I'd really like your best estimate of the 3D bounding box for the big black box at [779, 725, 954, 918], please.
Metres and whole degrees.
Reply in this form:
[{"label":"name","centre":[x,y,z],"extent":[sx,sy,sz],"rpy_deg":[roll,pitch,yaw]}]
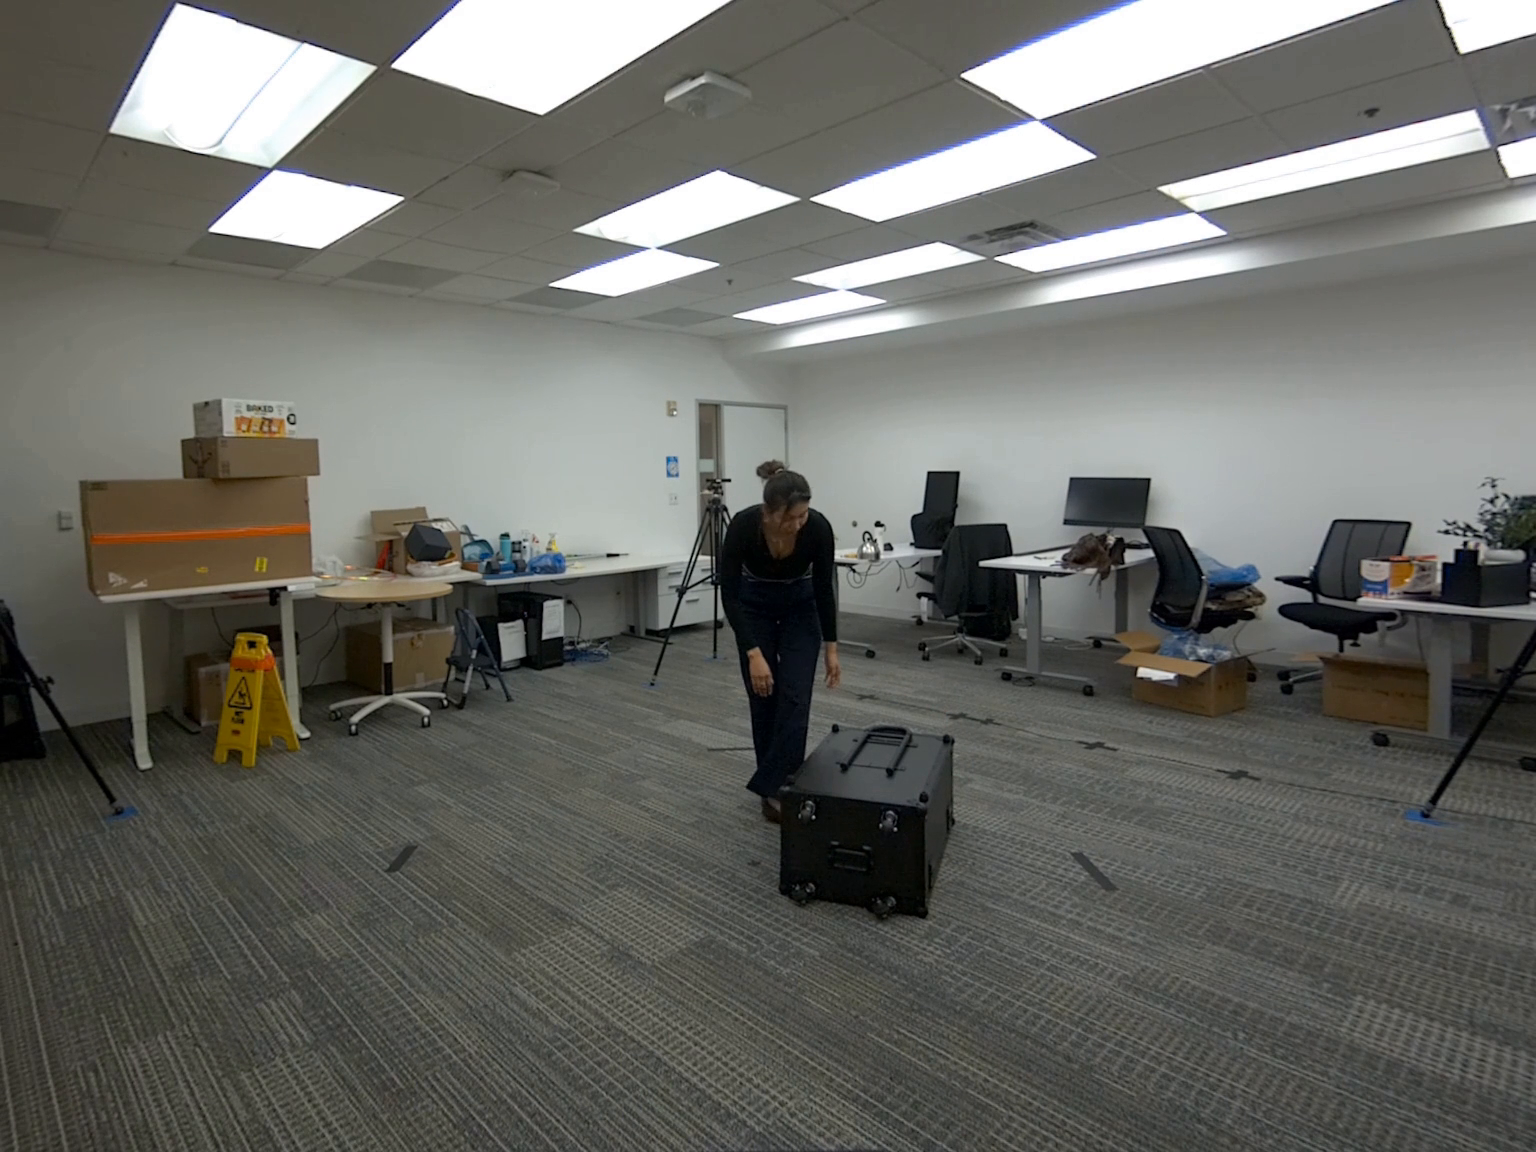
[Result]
[{"label":"big black box","centre":[0.379,0.842,3.092],"extent":[0.531,0.394,0.849],"rpy_deg":[1,7,20]}]
